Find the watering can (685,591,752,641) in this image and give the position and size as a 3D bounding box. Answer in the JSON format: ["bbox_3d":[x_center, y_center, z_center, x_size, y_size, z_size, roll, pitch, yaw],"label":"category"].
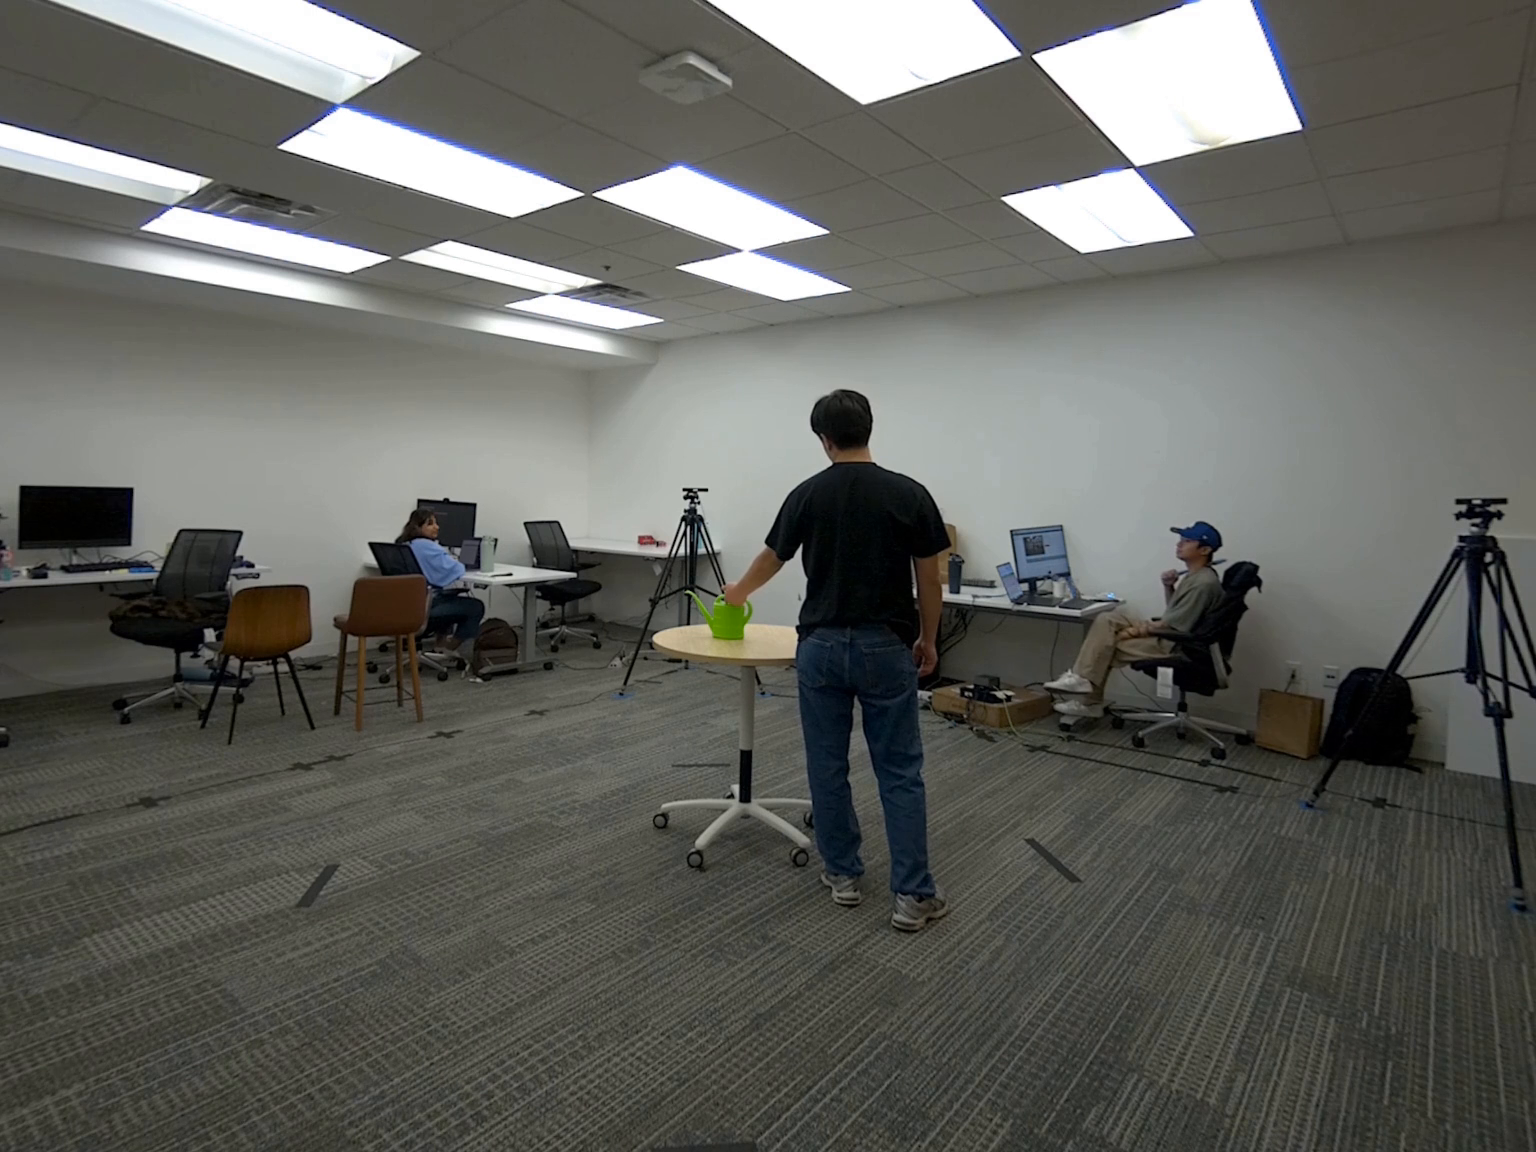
[{"bbox_3d":[-0.211,0.153,3.426,0.285,0.176,0.096,7,5,23],"label":"watering can"}]
